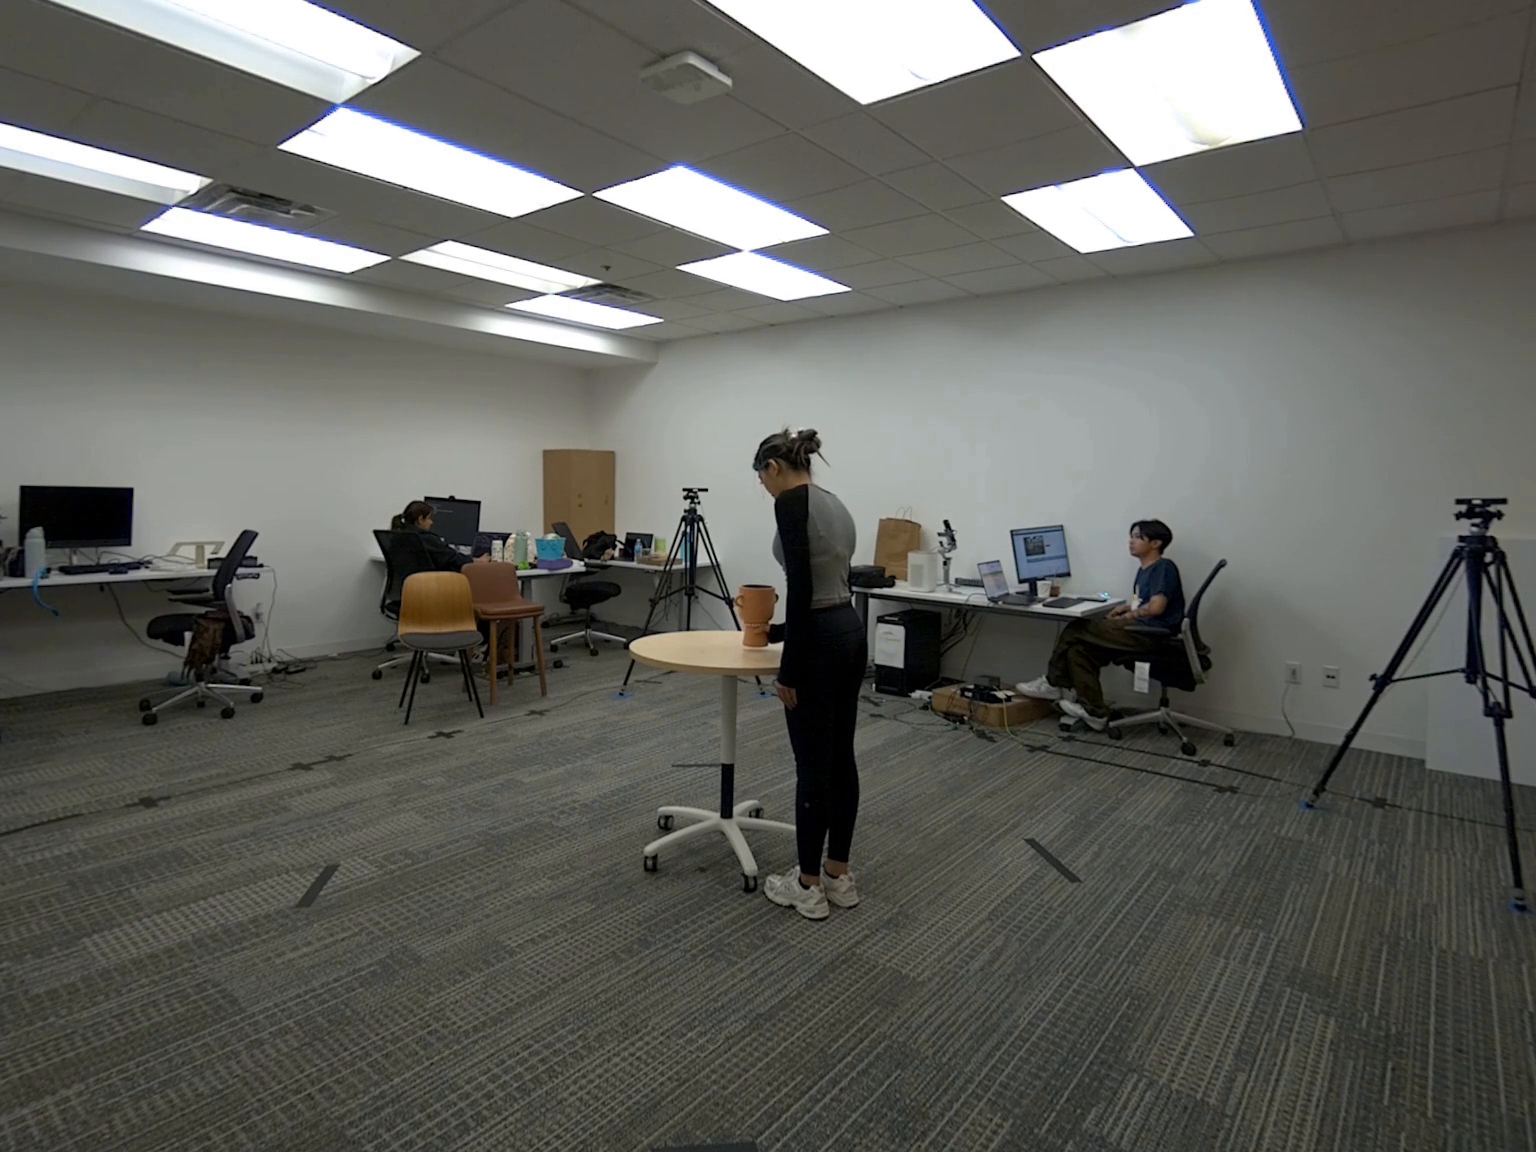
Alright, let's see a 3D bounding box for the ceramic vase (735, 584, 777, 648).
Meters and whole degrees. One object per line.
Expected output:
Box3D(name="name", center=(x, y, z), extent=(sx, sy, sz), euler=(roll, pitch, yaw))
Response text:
Box3D(name="ceramic vase", center=(-0.047, 0.145, 3.165), extent=(0.160, 0.219, 0.134), euler=(2, 4, 6))
